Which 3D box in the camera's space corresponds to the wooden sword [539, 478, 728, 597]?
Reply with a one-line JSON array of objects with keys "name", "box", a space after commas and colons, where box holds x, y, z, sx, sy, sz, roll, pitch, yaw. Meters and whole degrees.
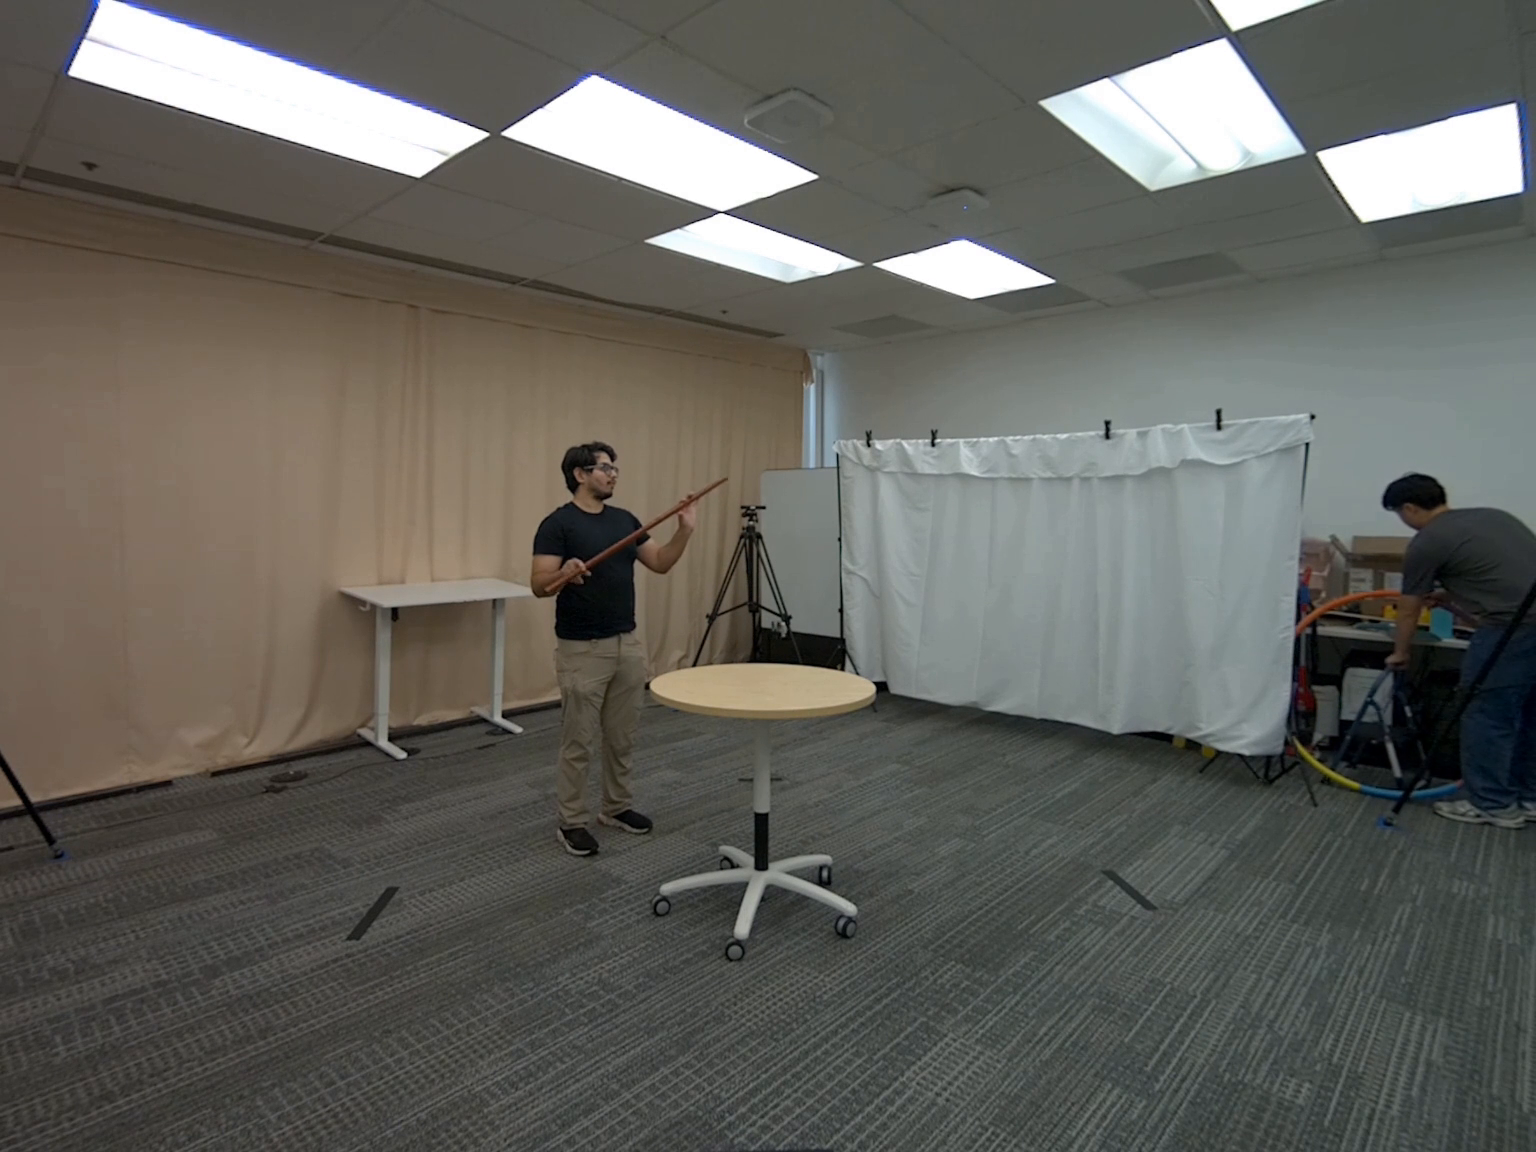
[{"name": "wooden sword", "box": [-0.469, -0.165, 3.236, 0.052, 0.024, 1.010, -14, 19, 49]}]
